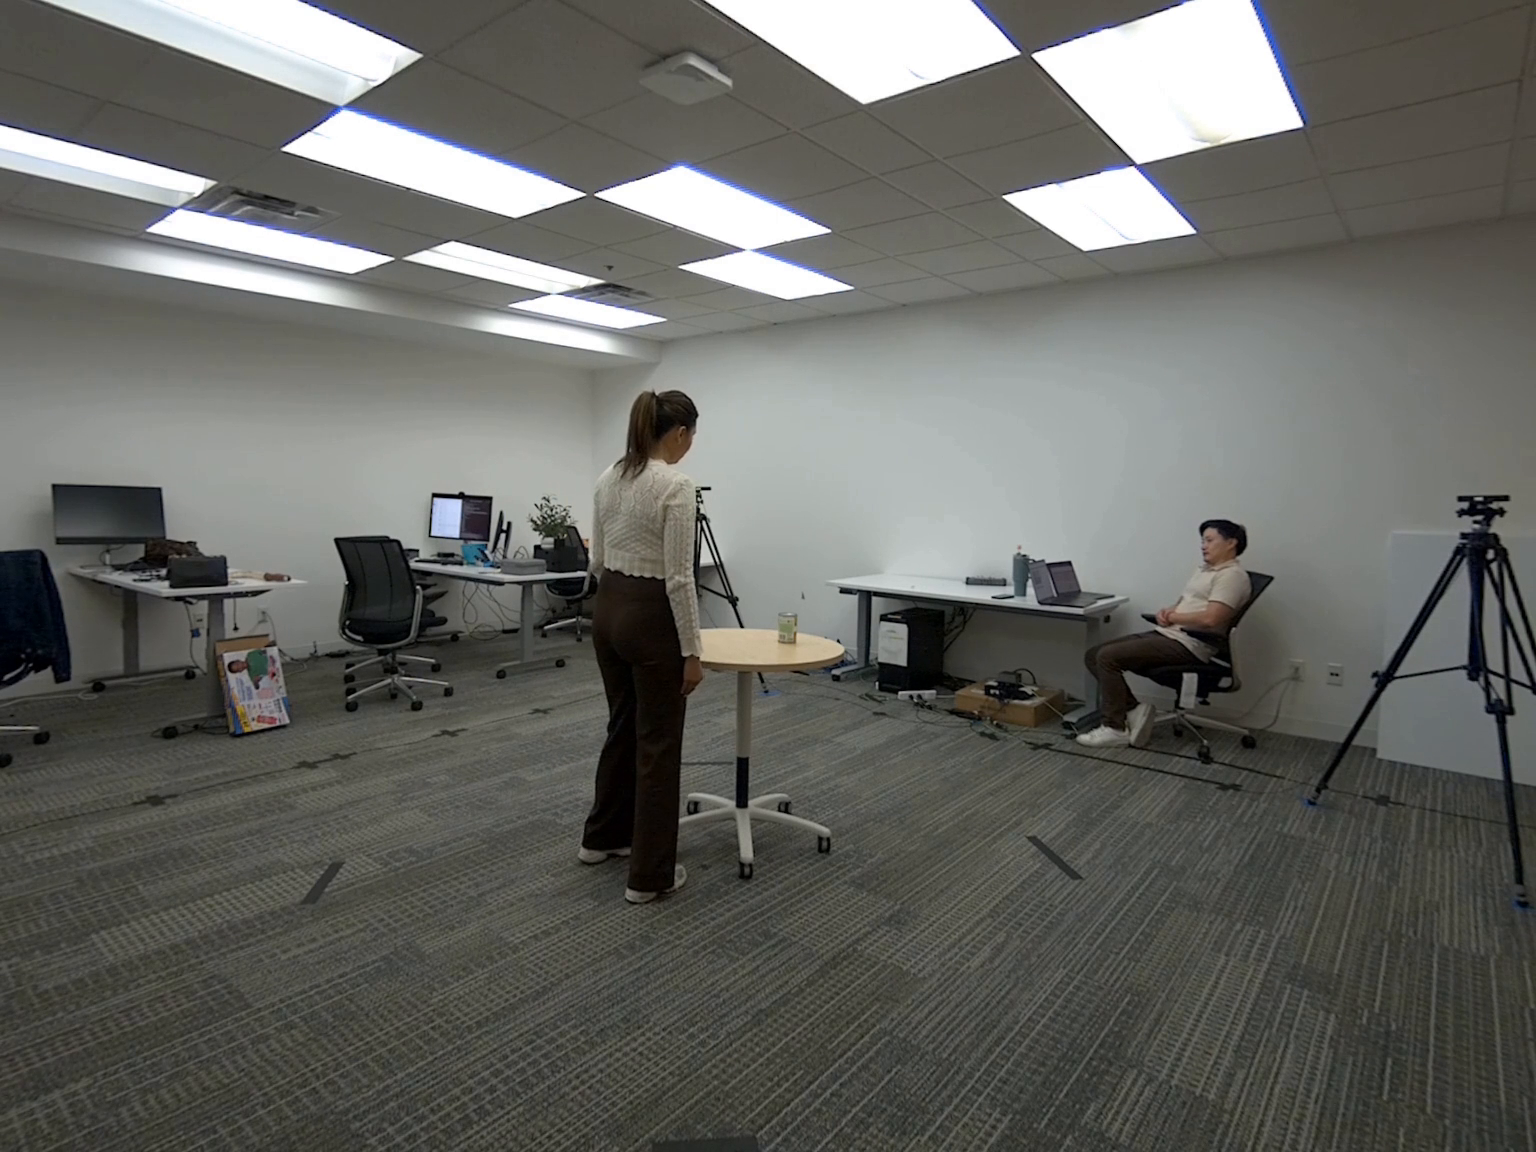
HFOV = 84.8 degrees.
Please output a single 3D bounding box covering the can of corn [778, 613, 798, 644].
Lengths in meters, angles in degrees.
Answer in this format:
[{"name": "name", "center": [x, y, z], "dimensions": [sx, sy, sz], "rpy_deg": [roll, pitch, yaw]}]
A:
[{"name": "can of corn", "center": [0.067, 0.206, 3.391], "dimensions": [0.074, 0.111, 0.074], "rpy_deg": [2, 3, -2]}]
